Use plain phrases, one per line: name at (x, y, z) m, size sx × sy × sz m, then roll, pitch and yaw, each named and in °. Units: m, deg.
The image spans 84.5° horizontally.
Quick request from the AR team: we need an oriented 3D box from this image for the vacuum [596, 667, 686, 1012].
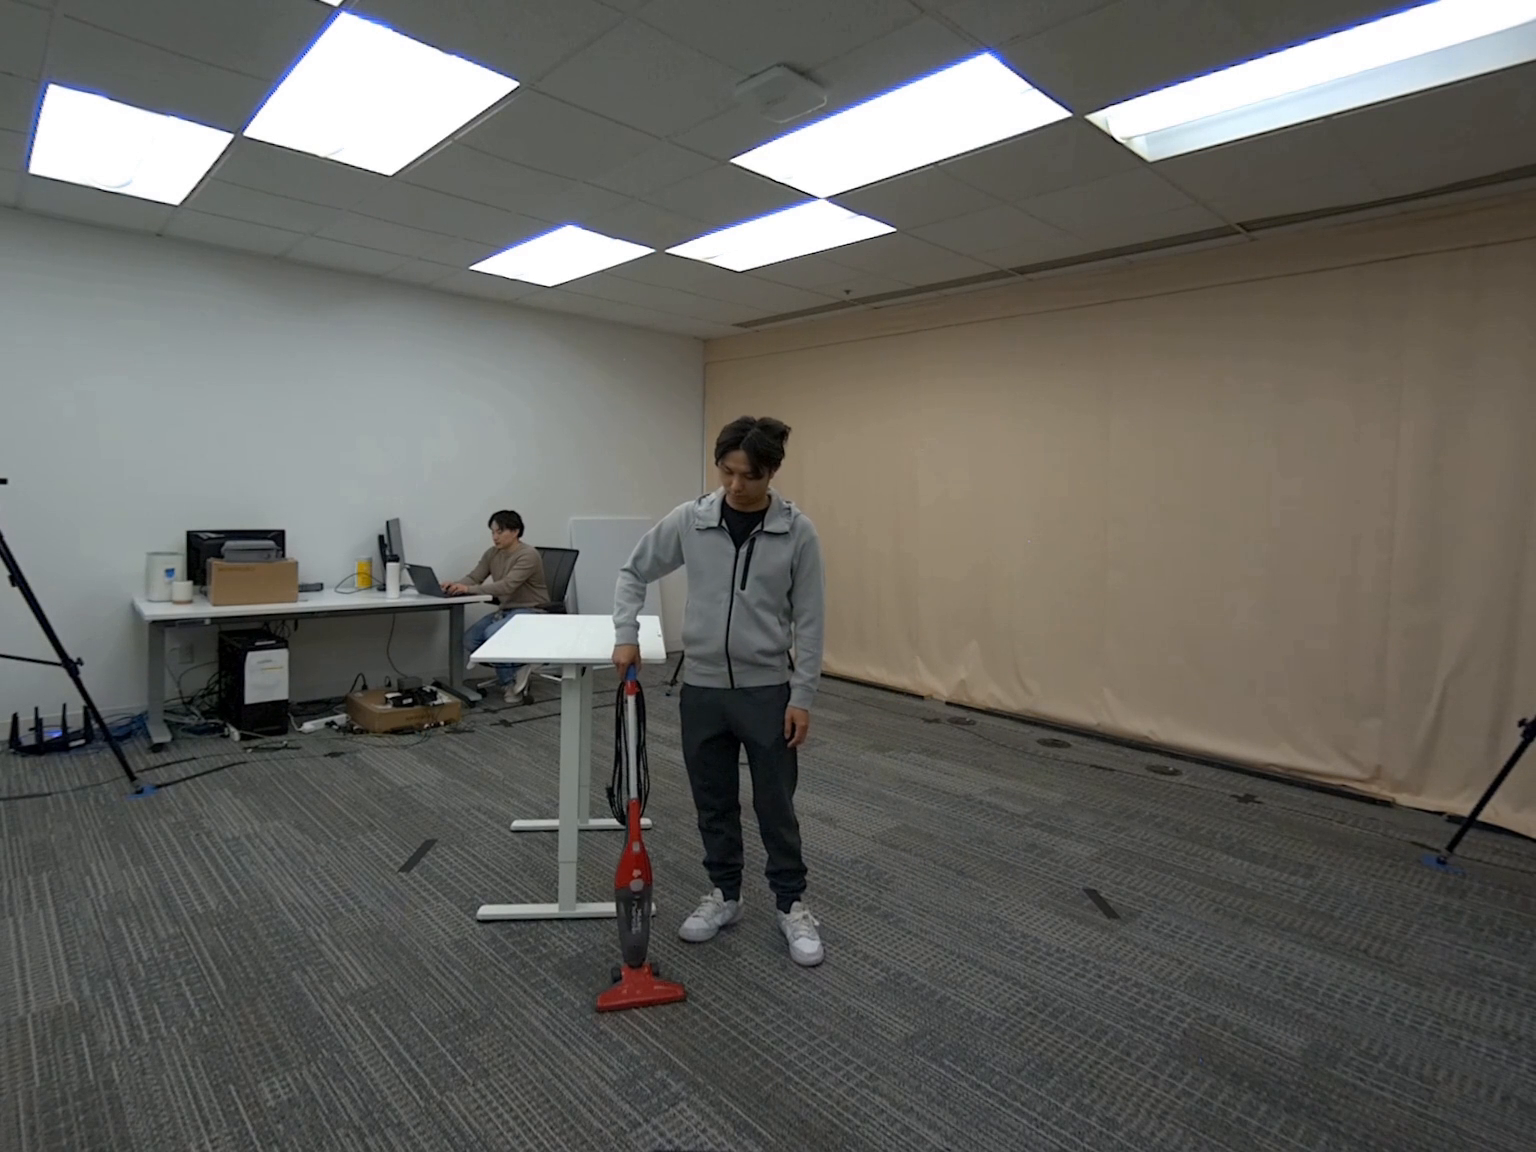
vacuum at (-0.417, 0.667, 2.486) m, size 0.249 × 1.062 × 0.144 m, roll 0°, pitch -16°, yaw -20°
